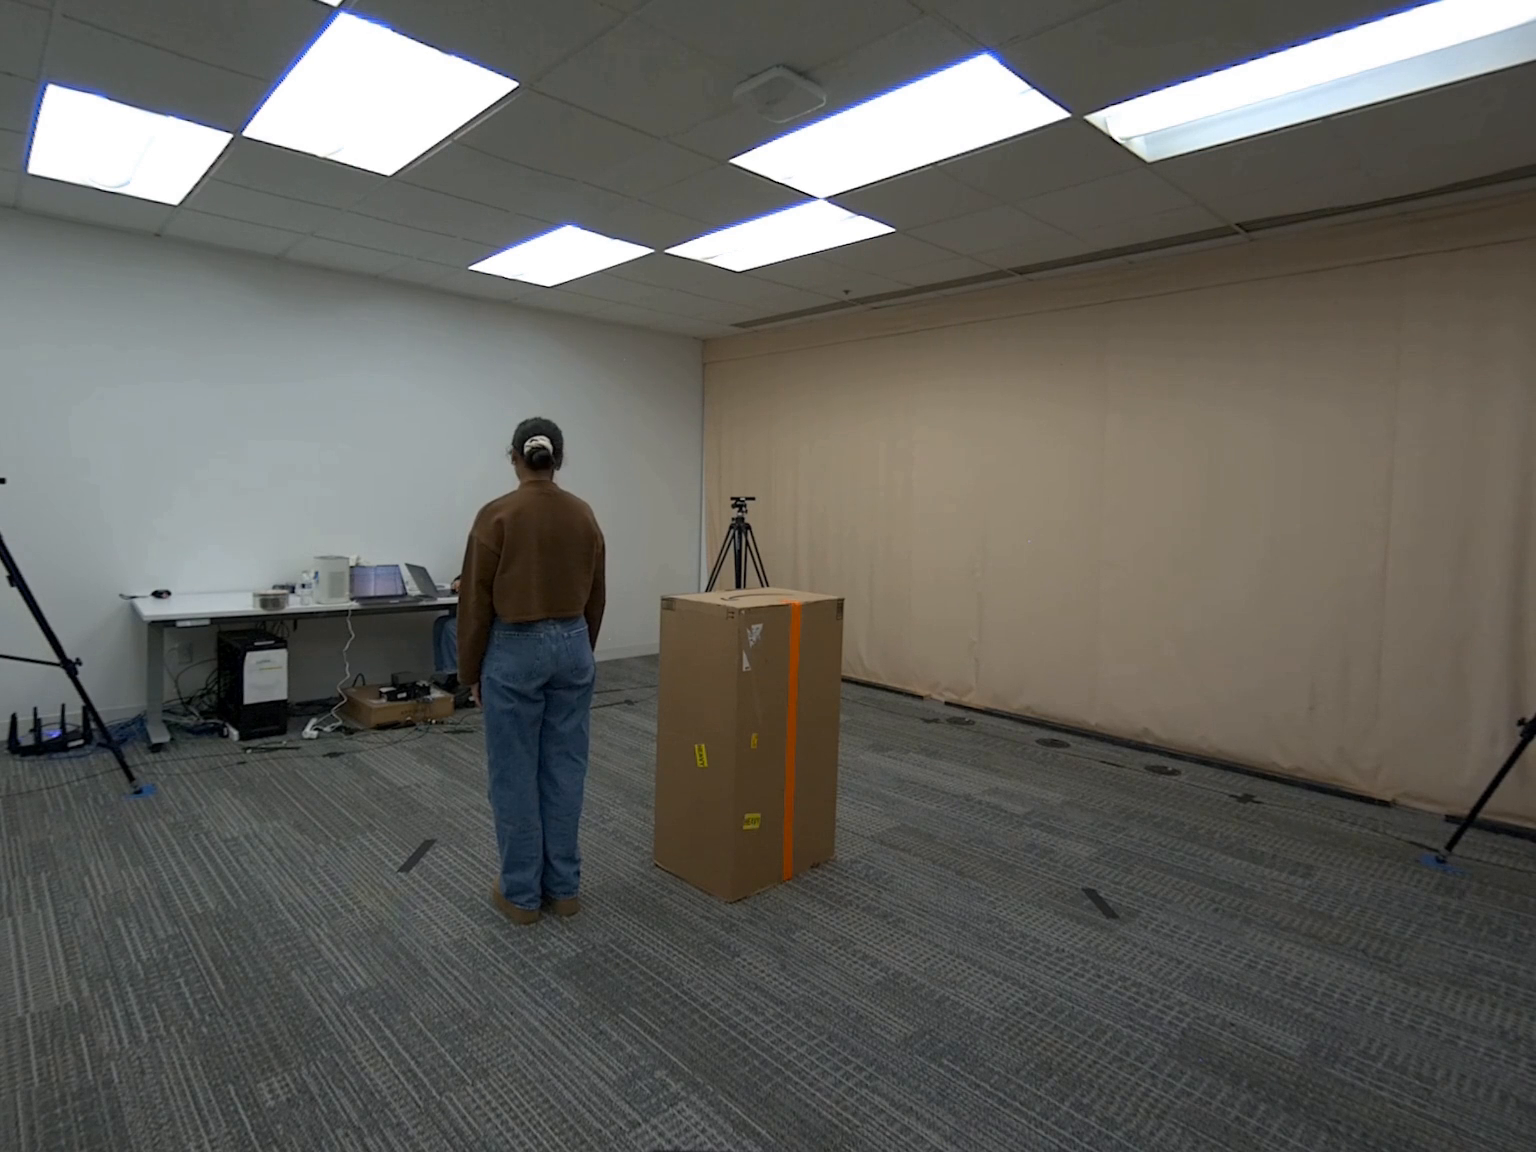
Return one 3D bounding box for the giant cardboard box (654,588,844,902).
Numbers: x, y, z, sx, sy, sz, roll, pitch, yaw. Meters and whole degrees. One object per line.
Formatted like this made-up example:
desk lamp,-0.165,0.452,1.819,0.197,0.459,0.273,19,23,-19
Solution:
giant cardboard box,-0.073,0.593,3.208,0.458,1.025,0.570,4,4,43
